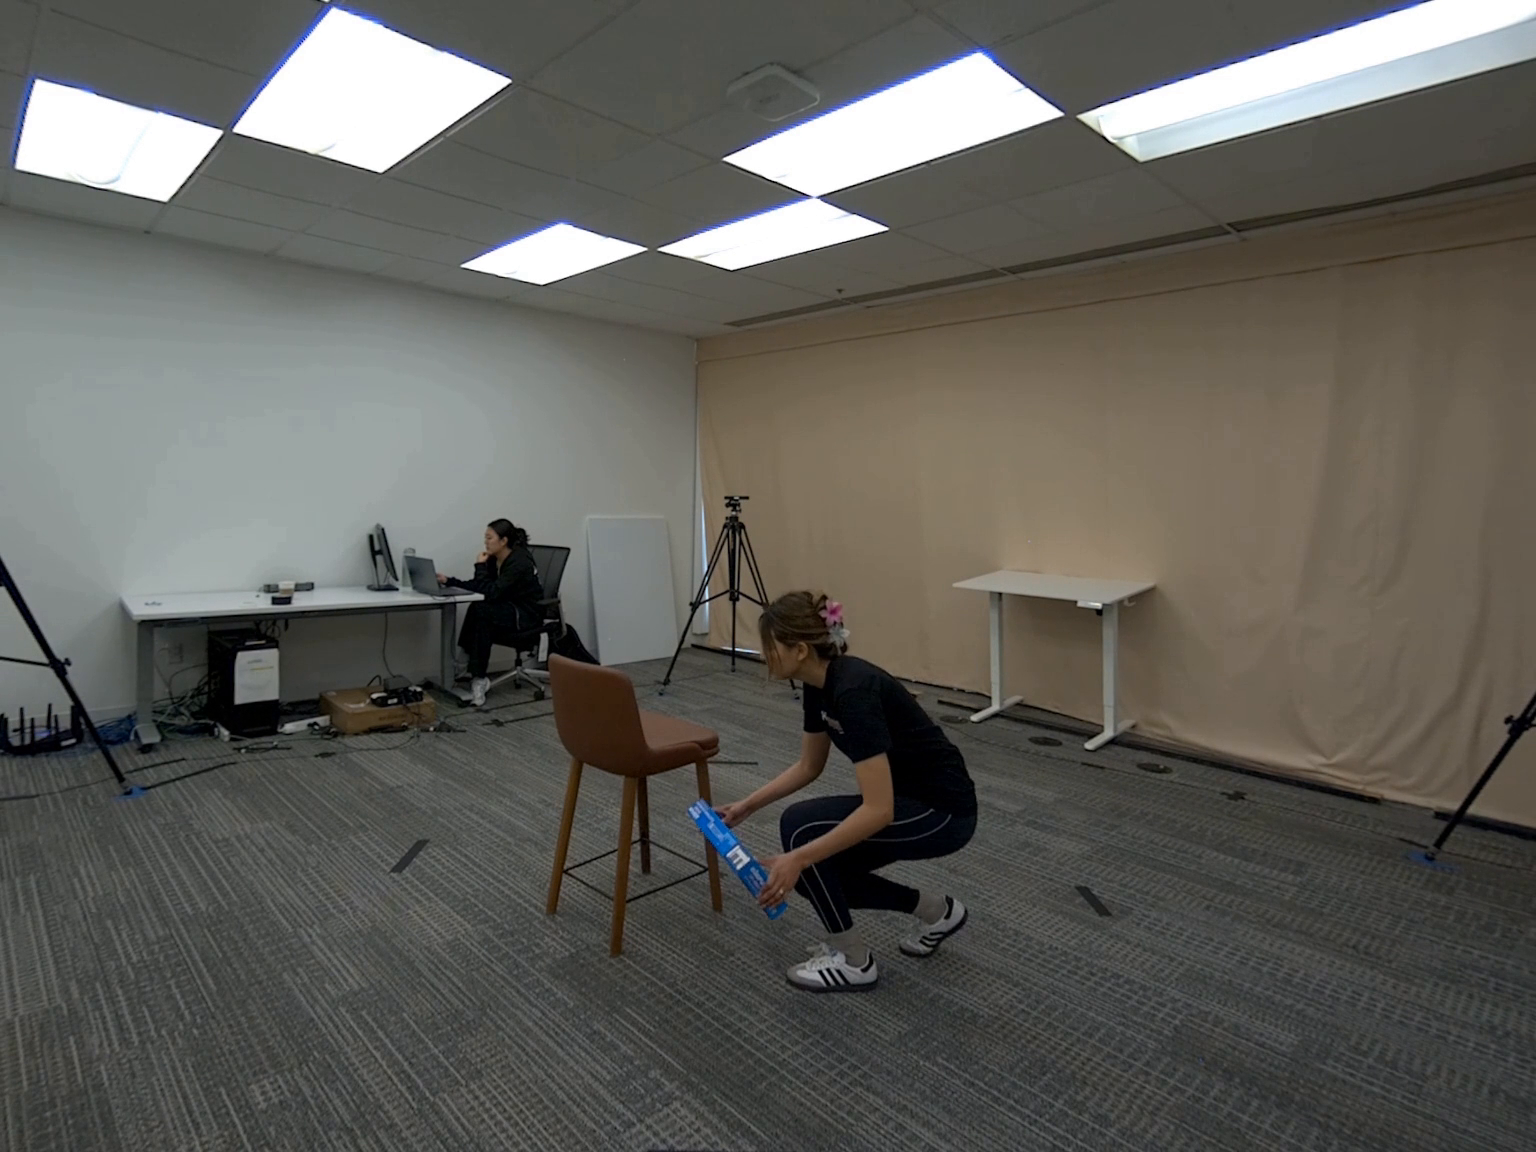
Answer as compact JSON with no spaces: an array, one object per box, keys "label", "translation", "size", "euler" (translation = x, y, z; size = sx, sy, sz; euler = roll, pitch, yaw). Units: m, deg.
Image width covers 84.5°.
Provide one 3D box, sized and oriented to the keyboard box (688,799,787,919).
[{"label":"keyboard box","translation":[-0.094,0.785,2.333],"size":[0.059,0.173,0.445],"euler":[-36,17,-15]}]
